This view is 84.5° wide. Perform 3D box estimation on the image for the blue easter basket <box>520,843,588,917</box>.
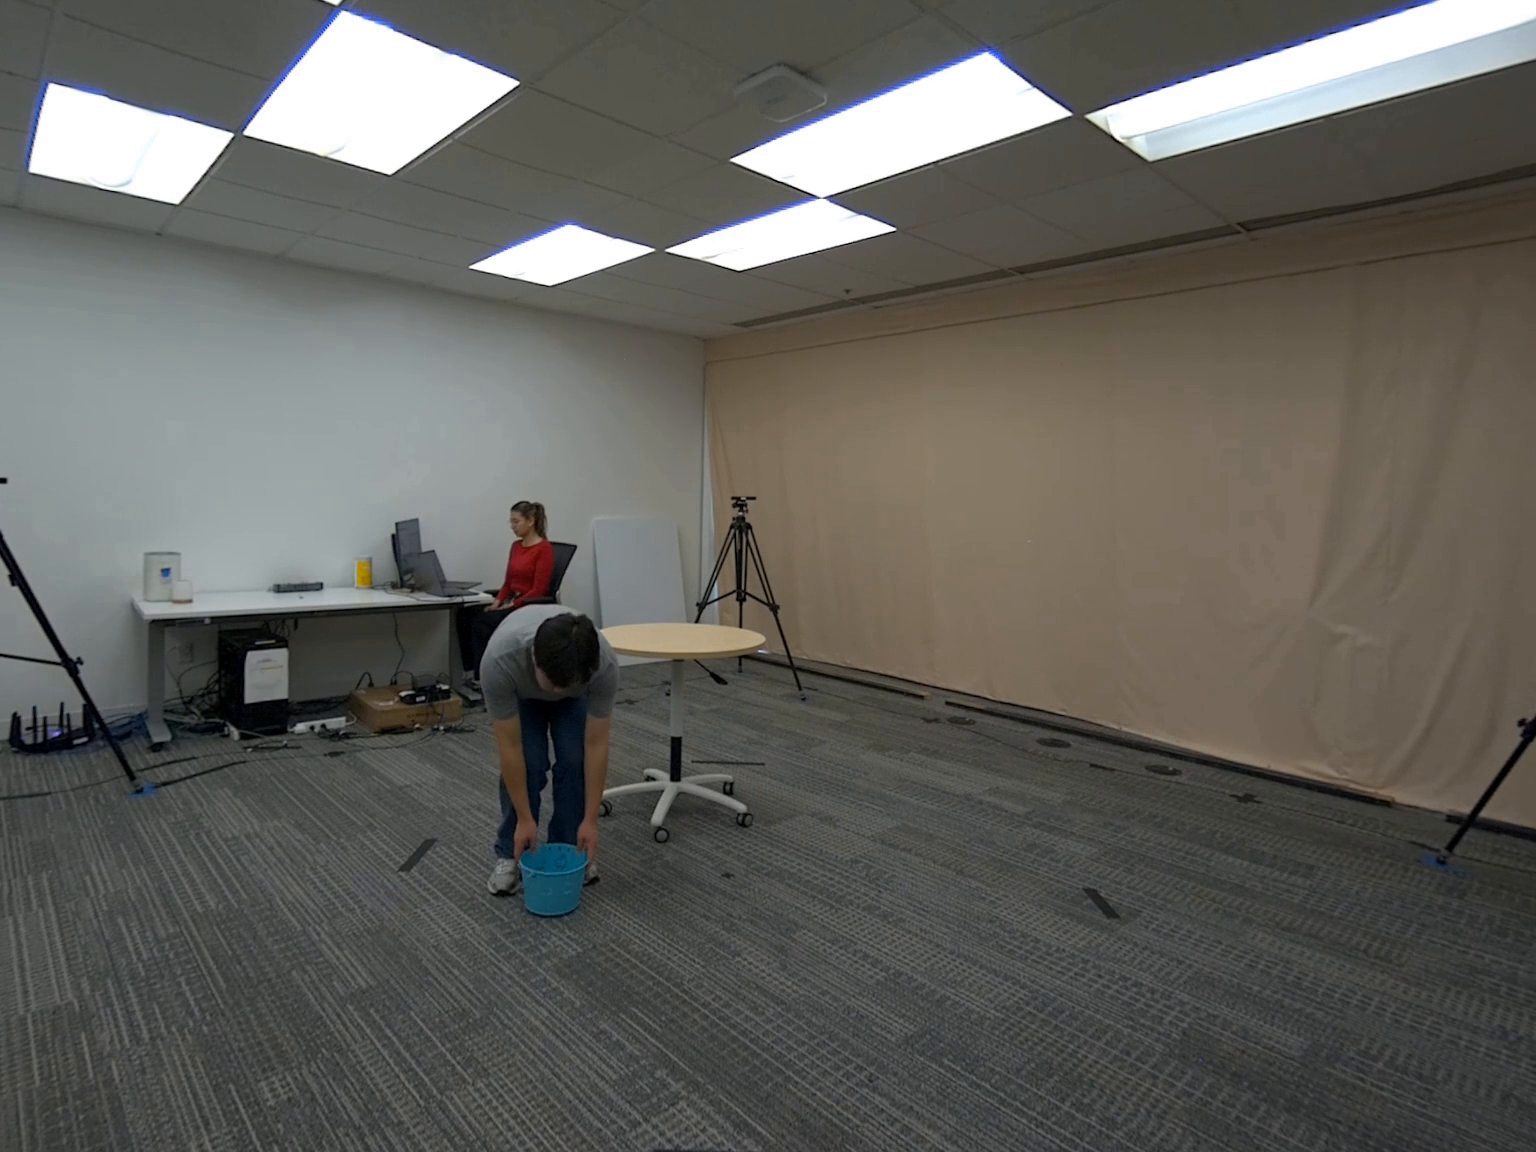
[{"bbox_3d":[-0.743,1.014,2.840,0.243,0.155,0.245,2,6,-2],"label":"blue easter basket"}]
